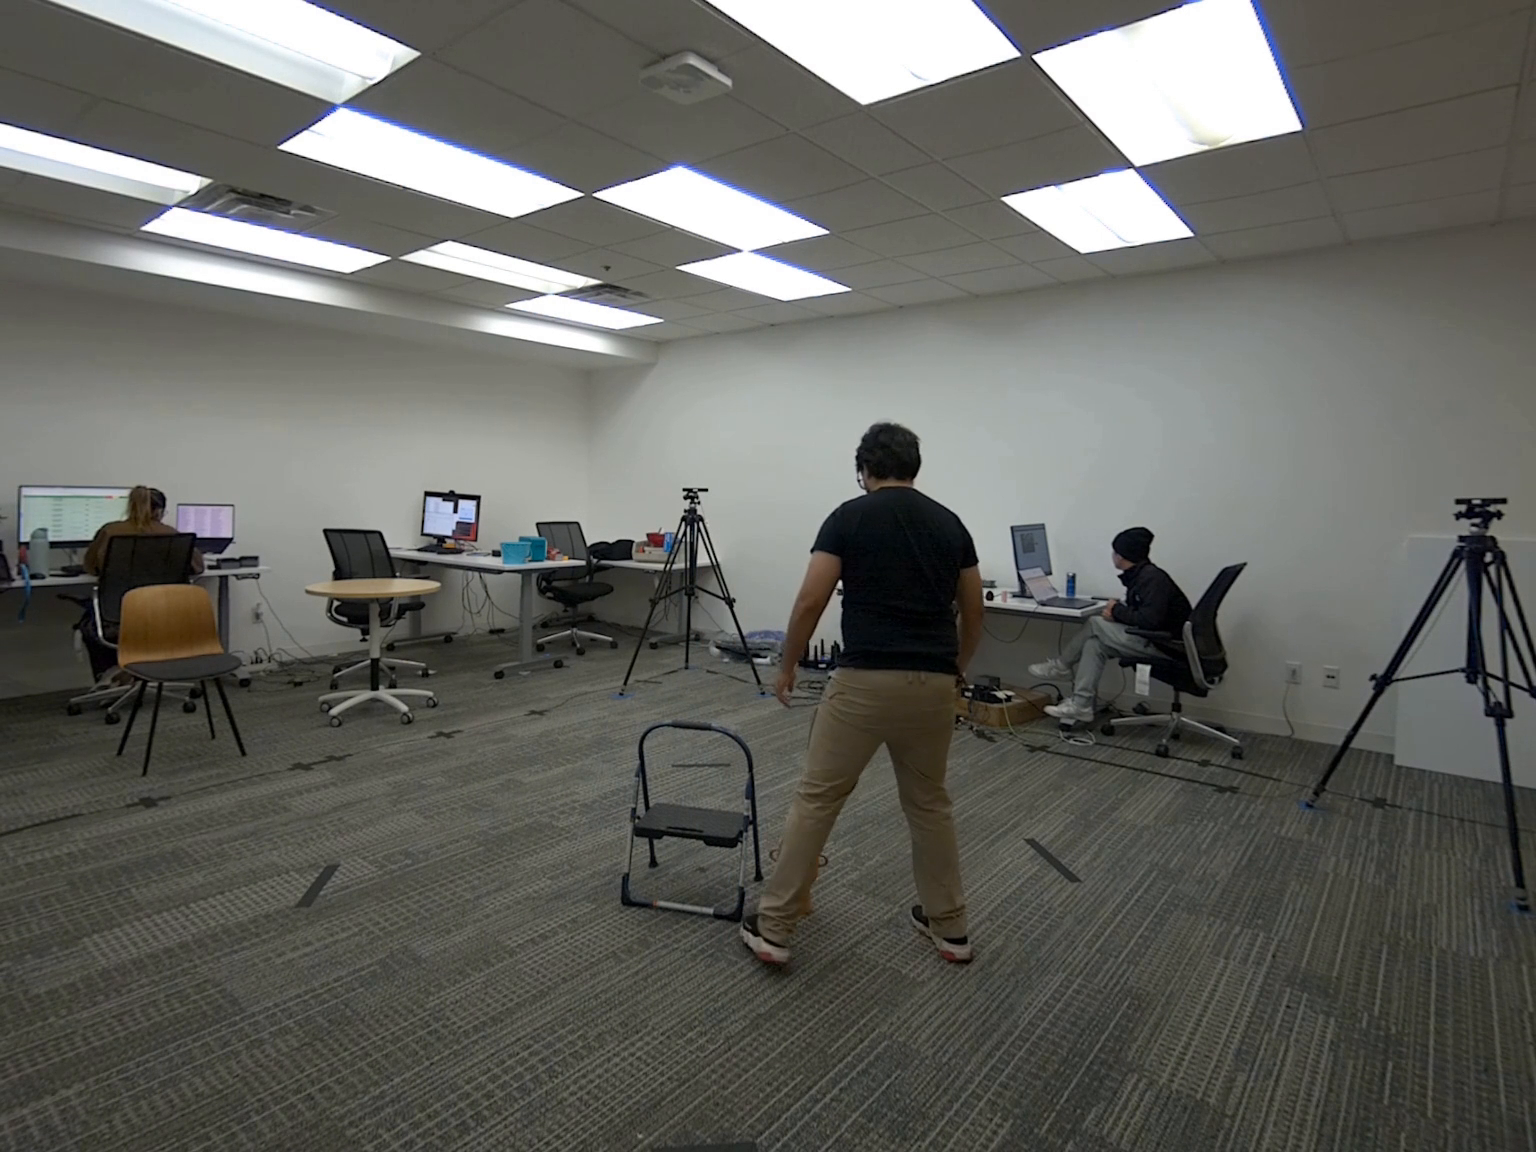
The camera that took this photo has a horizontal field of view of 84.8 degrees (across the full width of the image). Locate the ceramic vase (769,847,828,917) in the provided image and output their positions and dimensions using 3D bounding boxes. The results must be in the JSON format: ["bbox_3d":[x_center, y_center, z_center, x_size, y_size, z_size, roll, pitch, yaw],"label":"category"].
[{"bbox_3d":[0.098,0.992,2.823,0.130,0.219,0.164,-1,3,-37],"label":"ceramic vase"}]
